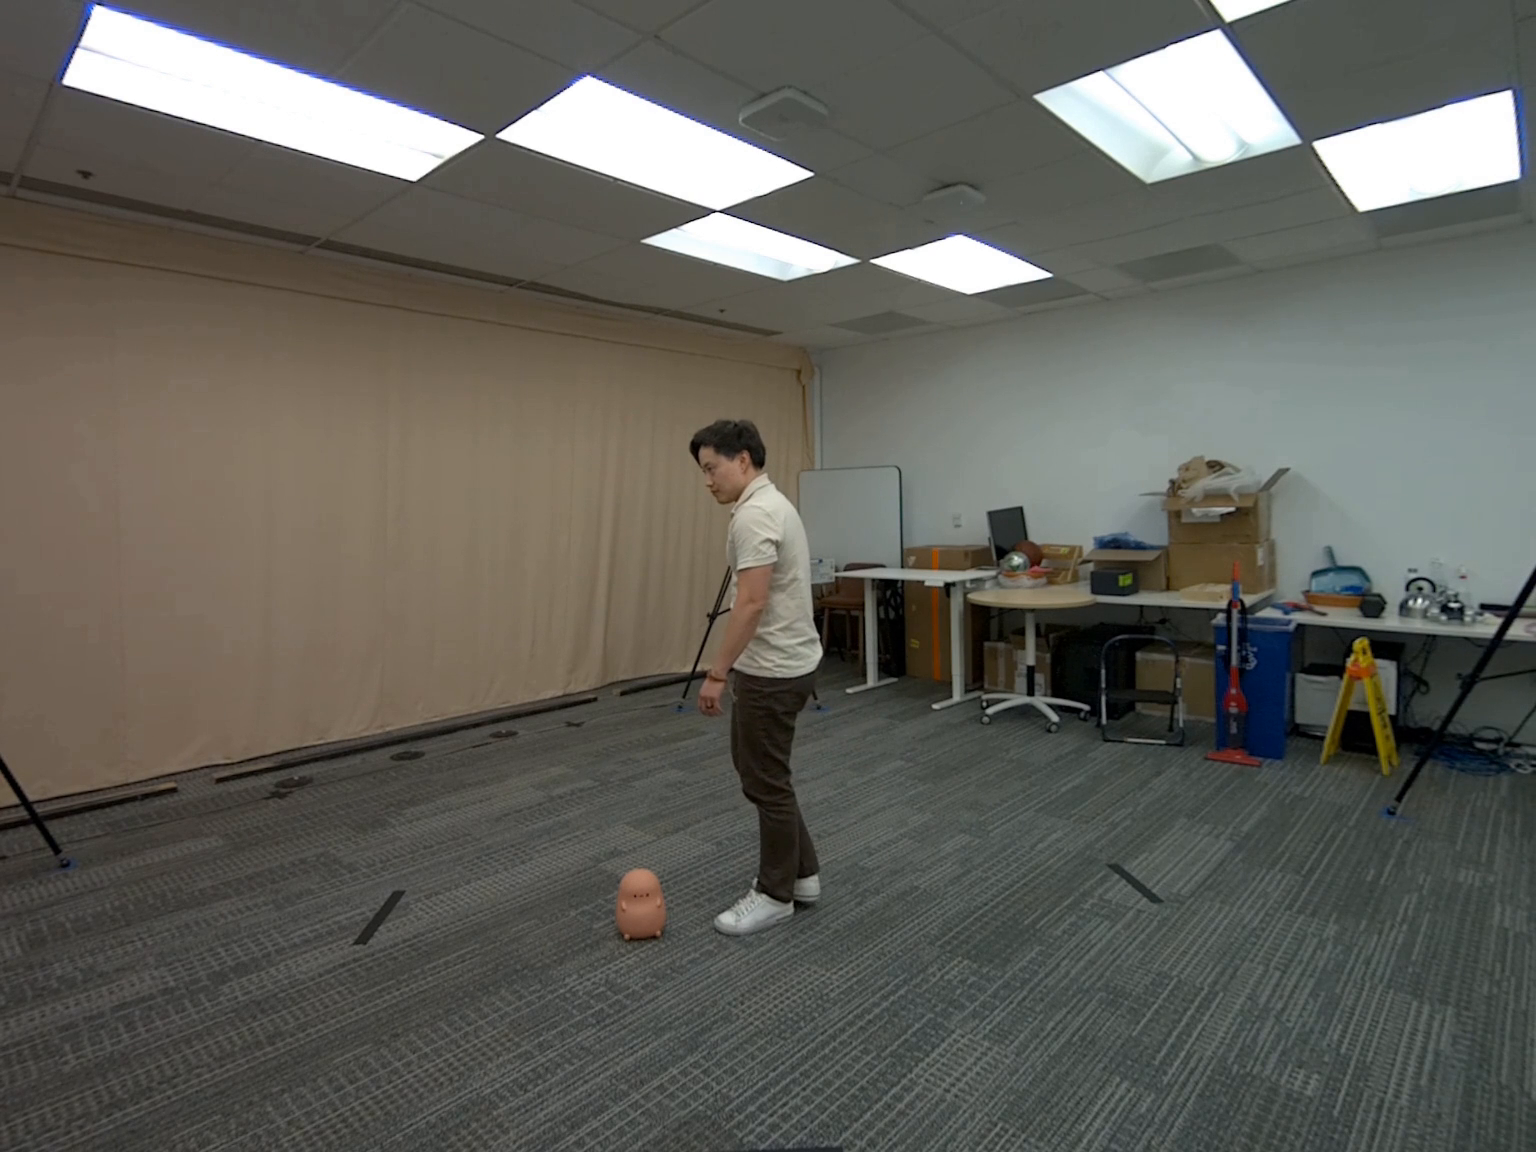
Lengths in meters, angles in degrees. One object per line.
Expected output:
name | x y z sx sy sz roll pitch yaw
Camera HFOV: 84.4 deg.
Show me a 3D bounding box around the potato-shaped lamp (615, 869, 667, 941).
potato-shaped lamp | -0.418 1.068 2.761 0.163 0.197 0.173 -5 4 -7
